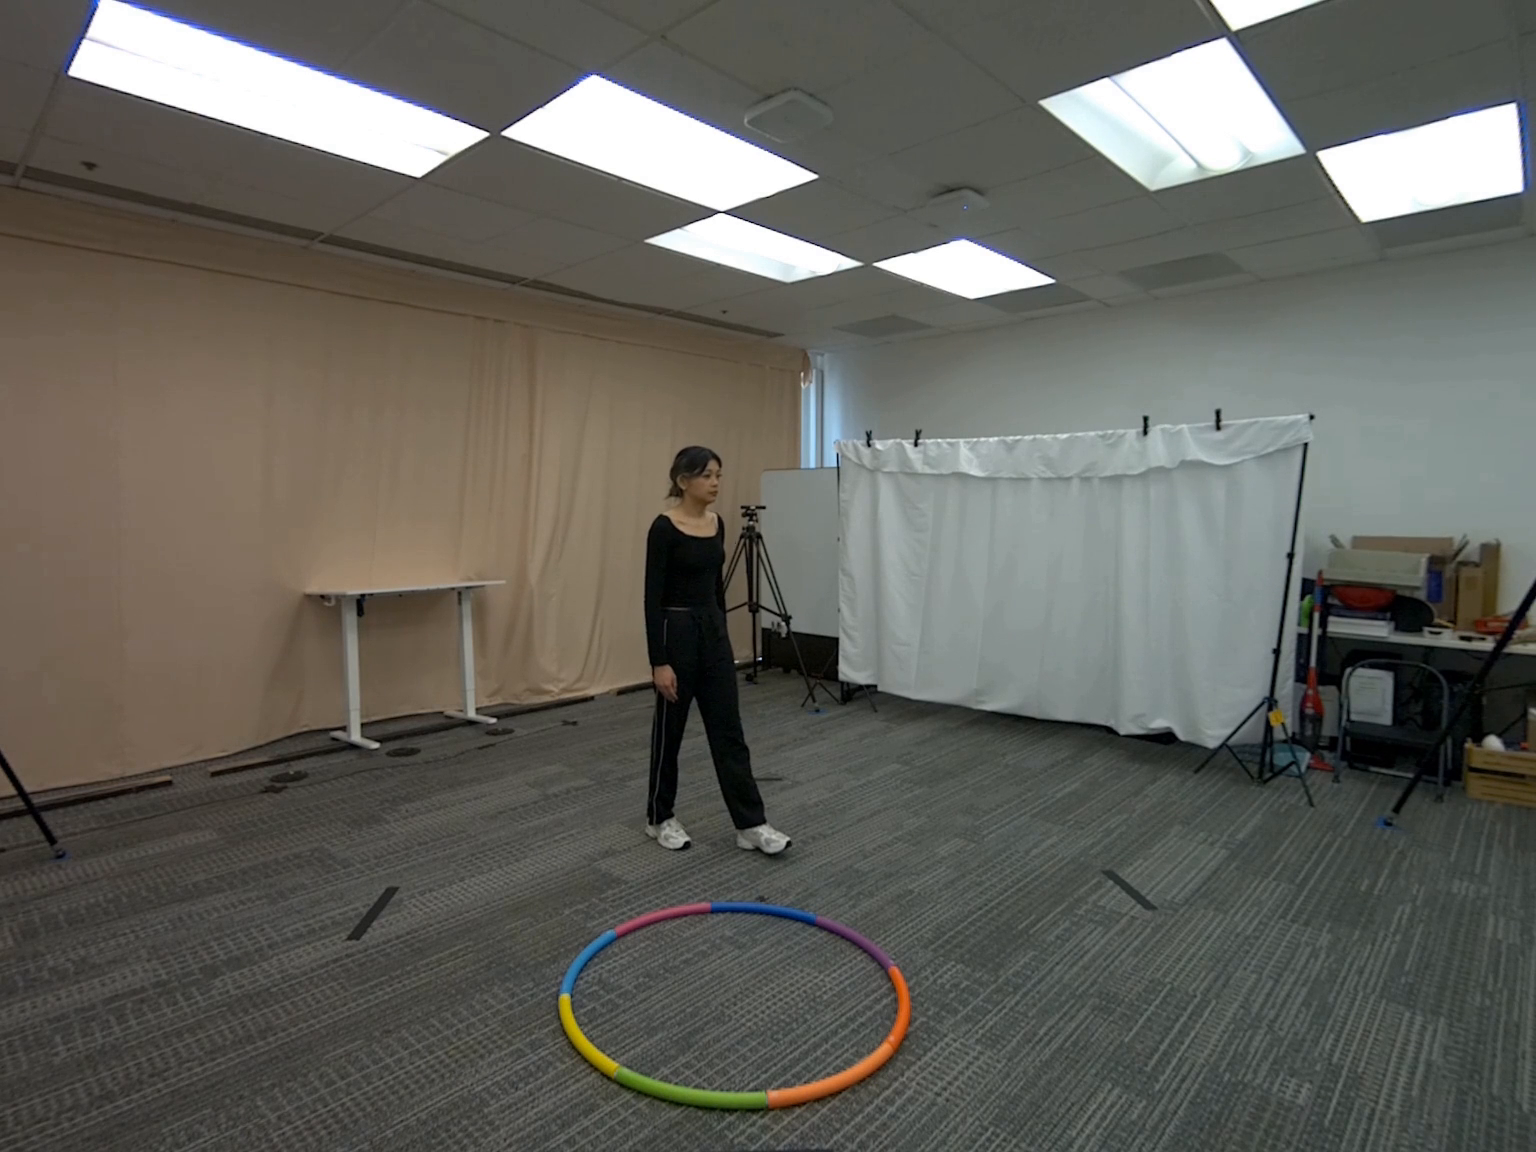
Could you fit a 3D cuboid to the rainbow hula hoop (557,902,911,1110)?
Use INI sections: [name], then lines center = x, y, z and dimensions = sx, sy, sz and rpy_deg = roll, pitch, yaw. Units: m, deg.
[rainbow hula hoop]
center = -0.091, 1.163, 2.420
dimensions = 0.978, 0.035, 0.982
rpy_deg = 0, 4, -2
